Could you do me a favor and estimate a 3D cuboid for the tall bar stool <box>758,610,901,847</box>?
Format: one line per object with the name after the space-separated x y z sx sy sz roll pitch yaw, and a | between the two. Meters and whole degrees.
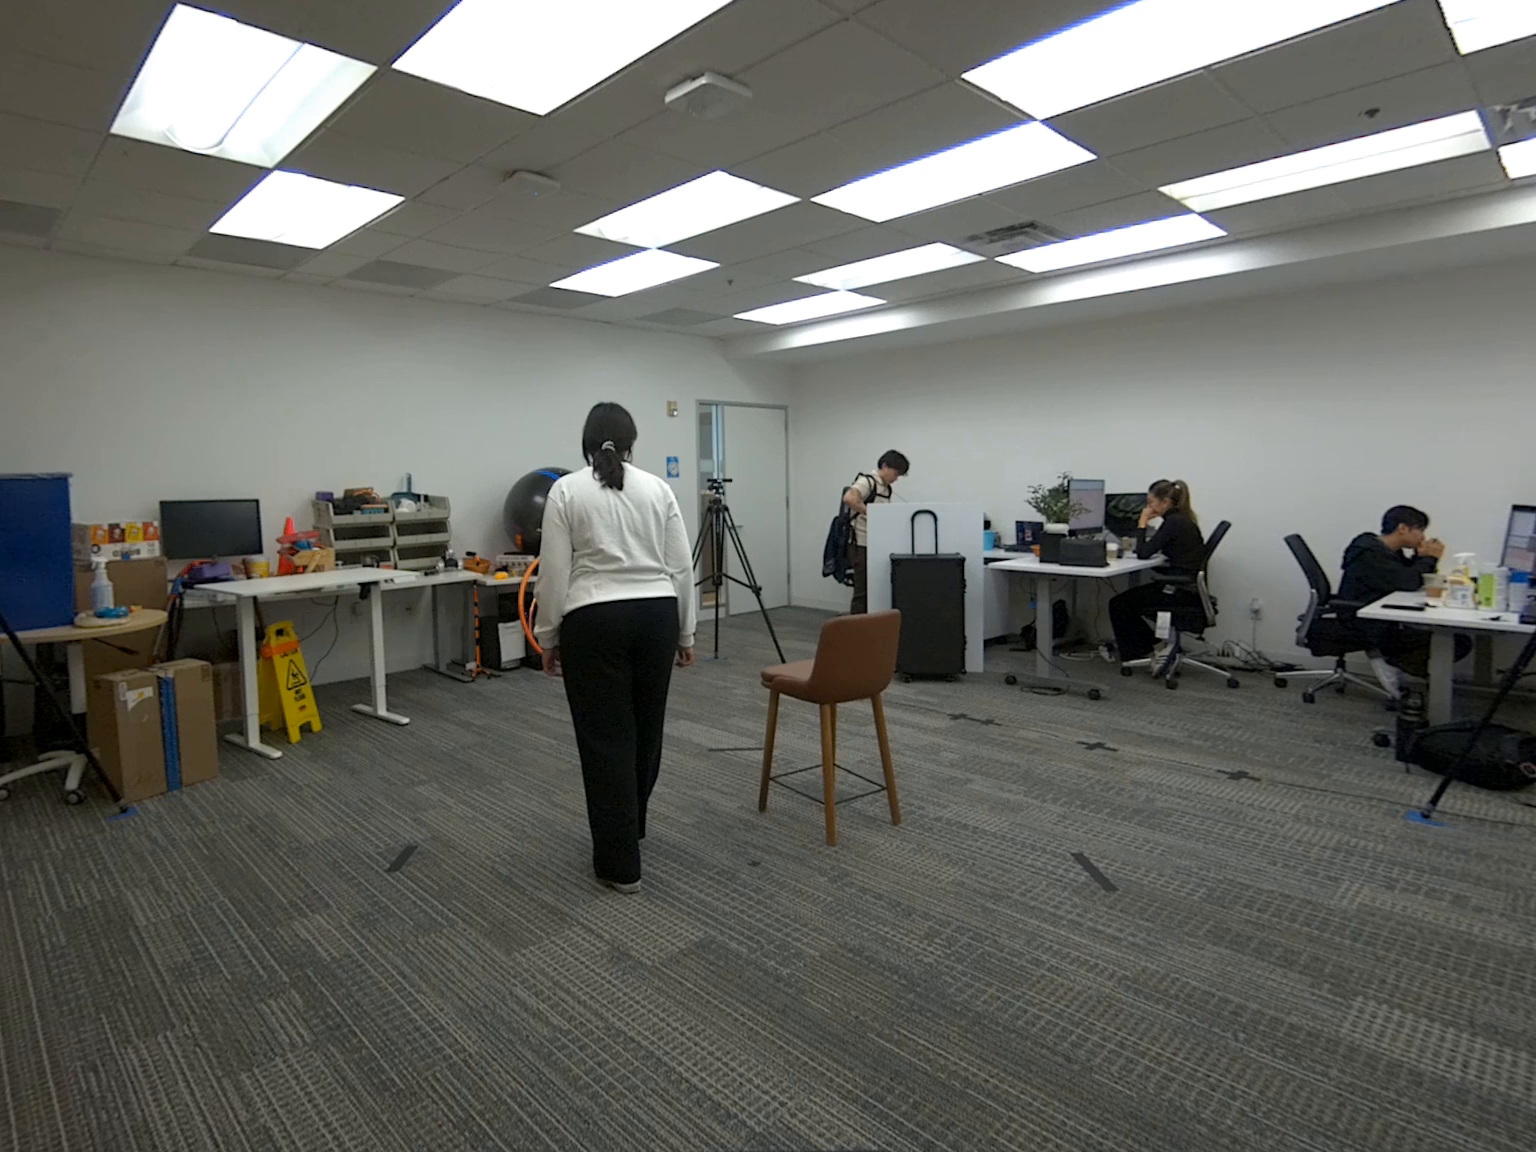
0.253 0.561 3.505 0.445 0.885 0.482 -4 7 -36 | tall bar stool
